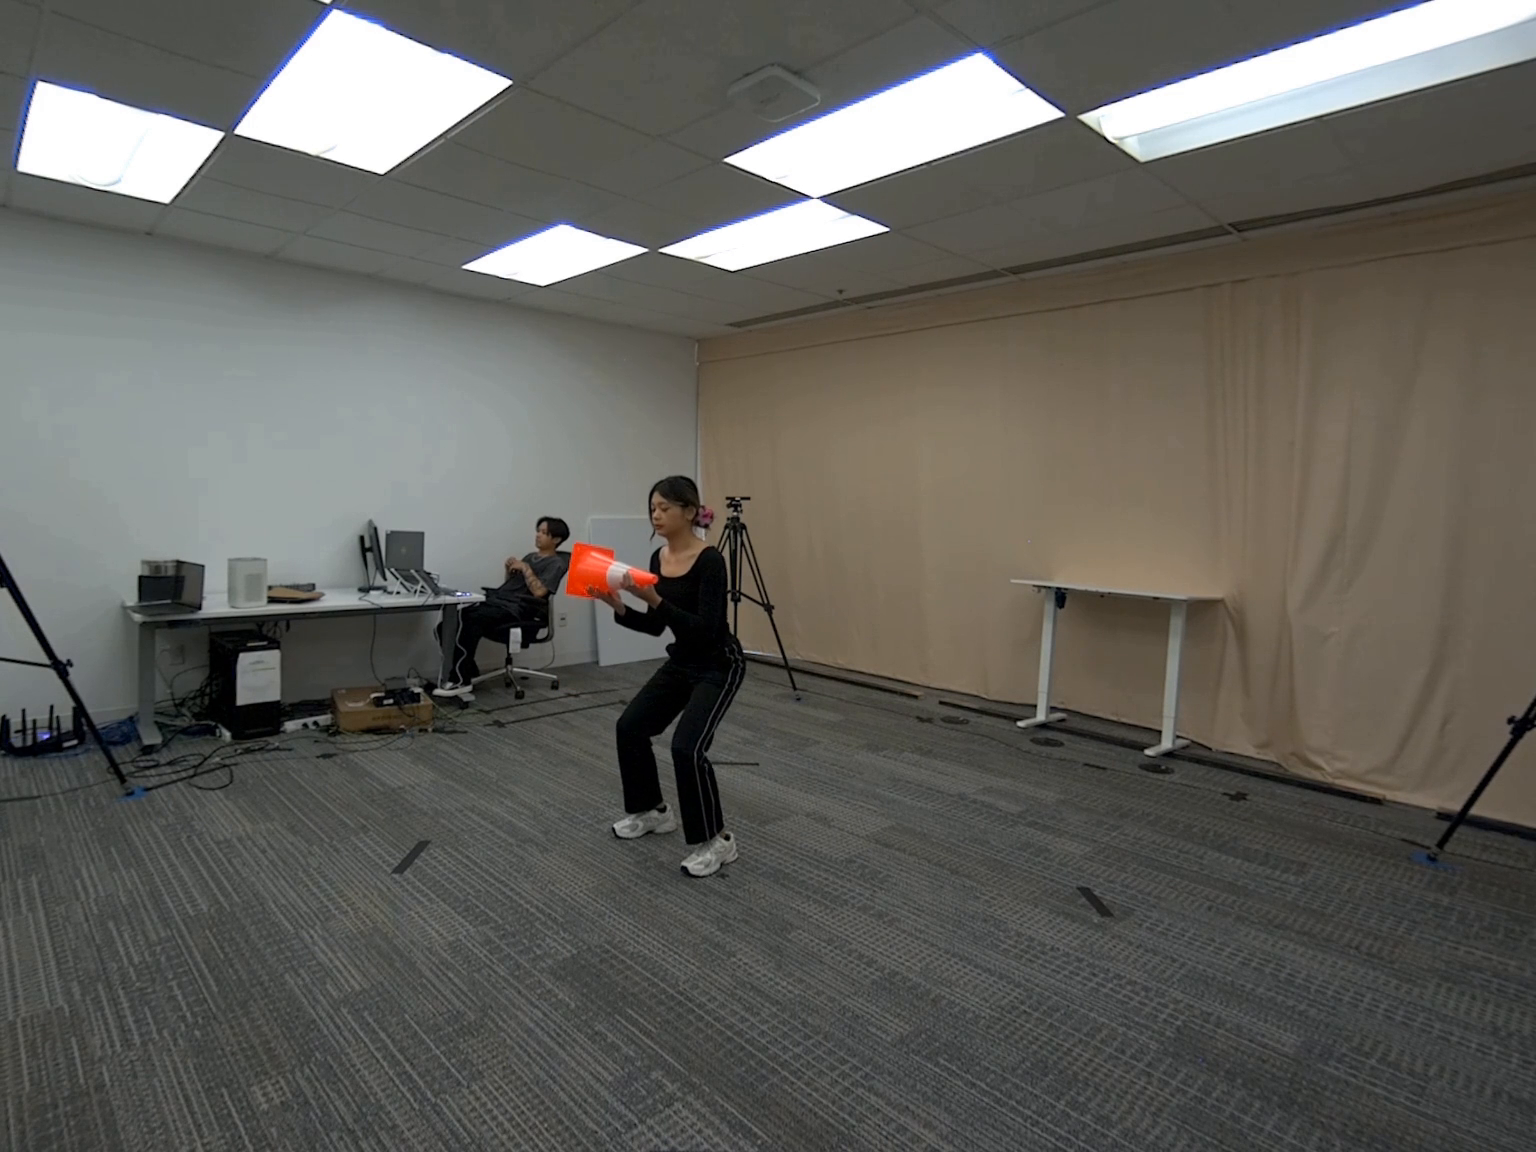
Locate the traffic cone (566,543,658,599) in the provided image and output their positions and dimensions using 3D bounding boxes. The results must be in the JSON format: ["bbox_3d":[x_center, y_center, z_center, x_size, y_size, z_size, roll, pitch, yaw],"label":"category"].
[{"bbox_3d":[-0.534,0.002,3.052,0.393,0.205,0.197,5,-6,43],"label":"traffic cone"}]
